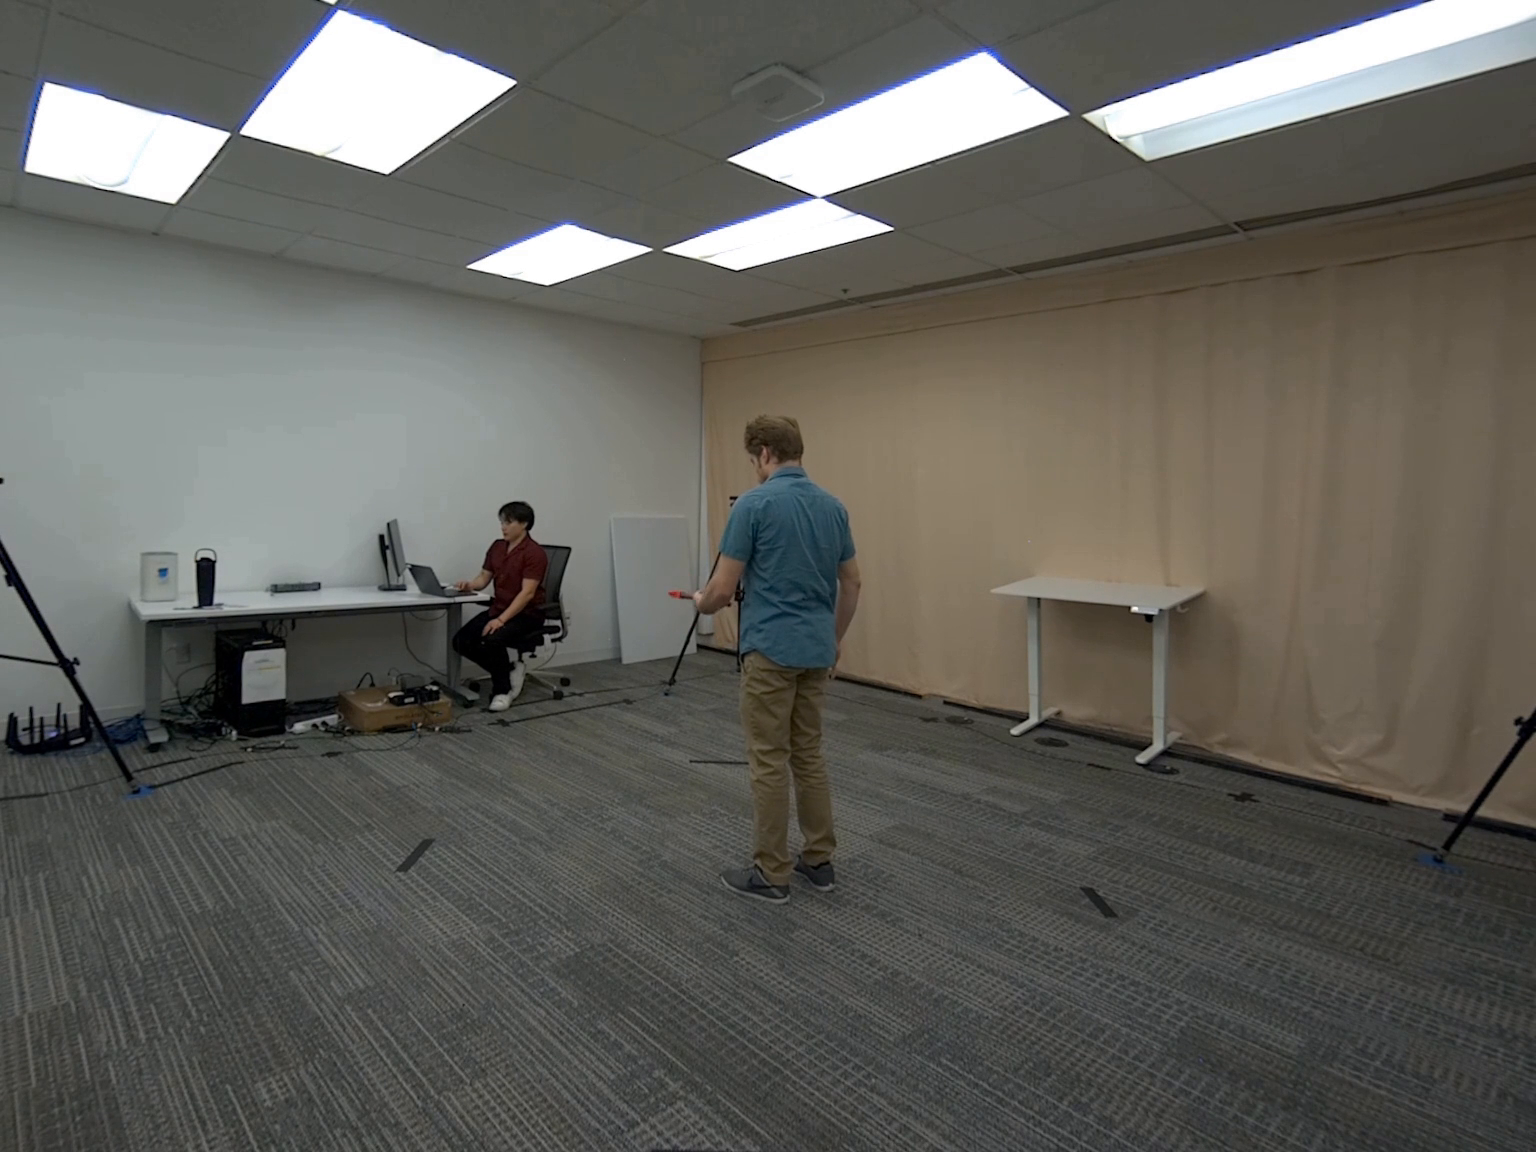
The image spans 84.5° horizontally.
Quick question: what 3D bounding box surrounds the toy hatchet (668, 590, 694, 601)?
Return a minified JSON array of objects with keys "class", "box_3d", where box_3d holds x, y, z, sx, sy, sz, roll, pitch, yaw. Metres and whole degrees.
[{"class":"toy hatchet","box_3d":[-0.242,0.113,3.242,0.276,0.029,0.128,13,1,26]}]
